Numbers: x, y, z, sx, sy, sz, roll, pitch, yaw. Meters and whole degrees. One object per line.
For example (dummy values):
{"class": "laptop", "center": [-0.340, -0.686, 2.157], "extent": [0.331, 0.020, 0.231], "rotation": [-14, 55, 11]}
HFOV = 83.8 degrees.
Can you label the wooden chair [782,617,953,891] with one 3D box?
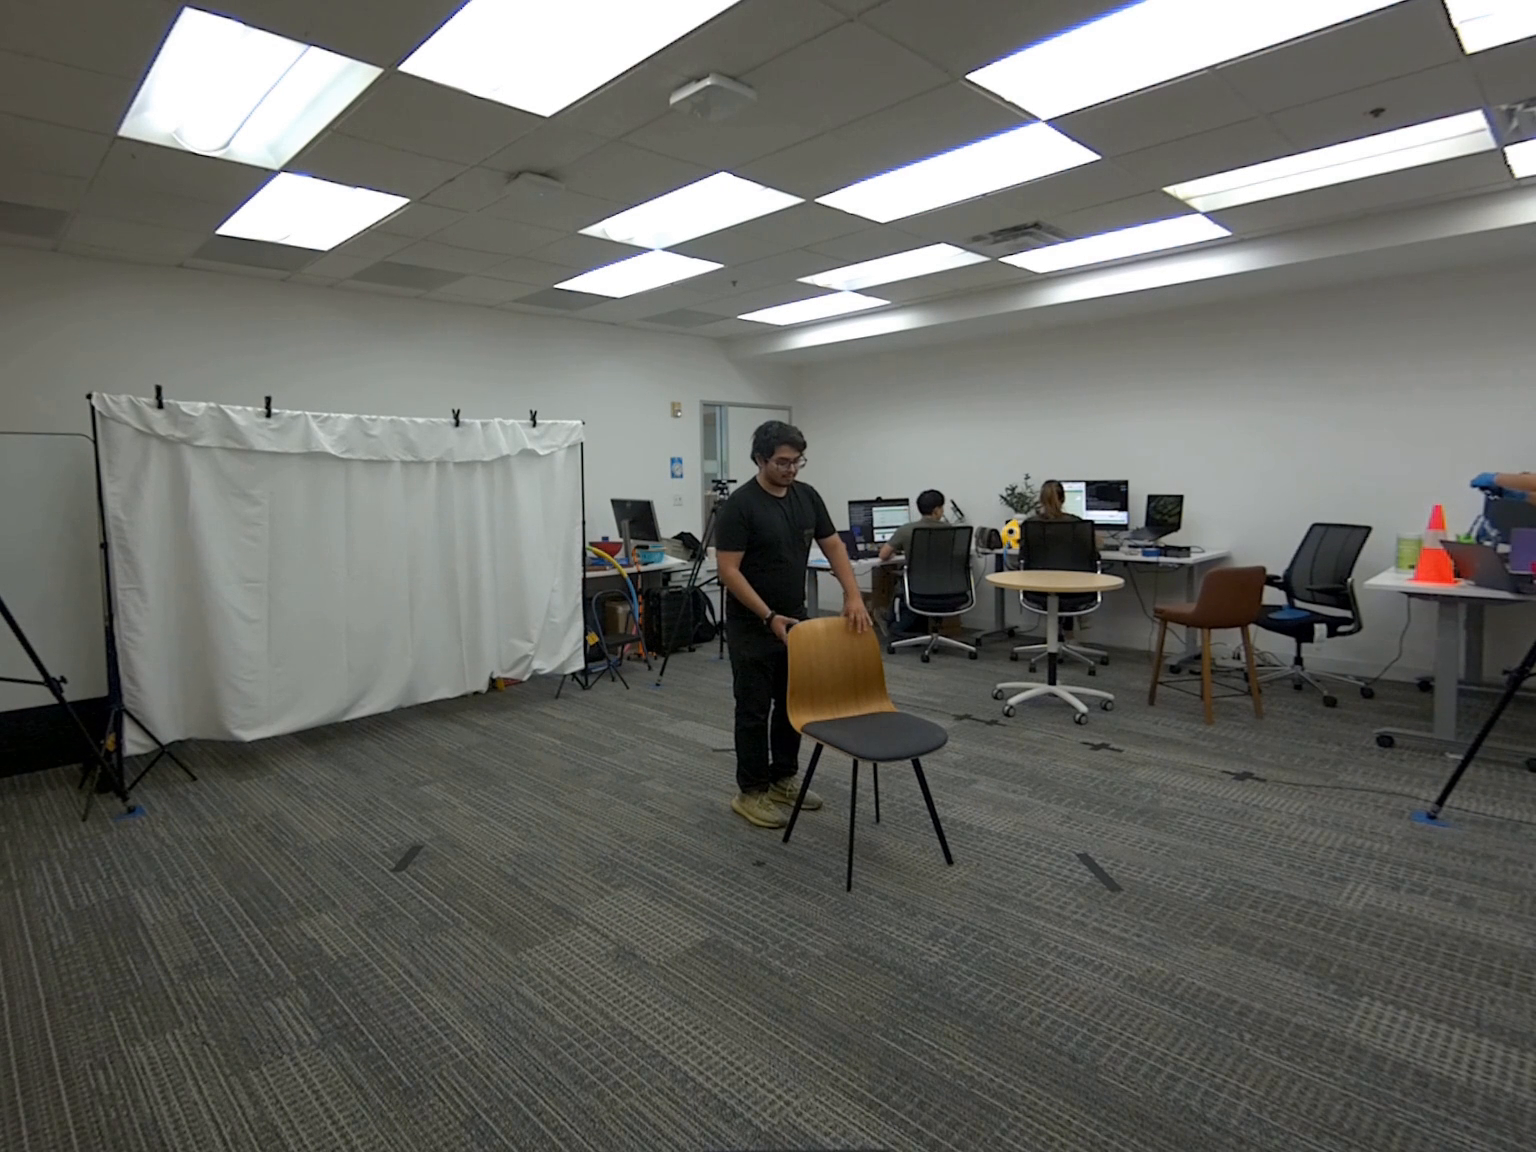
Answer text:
{"class": "wooden chair", "center": [0.358, 0.609, 3.142], "extent": [0.467, 0.878, 0.535], "rotation": [-2, 0, -27]}
